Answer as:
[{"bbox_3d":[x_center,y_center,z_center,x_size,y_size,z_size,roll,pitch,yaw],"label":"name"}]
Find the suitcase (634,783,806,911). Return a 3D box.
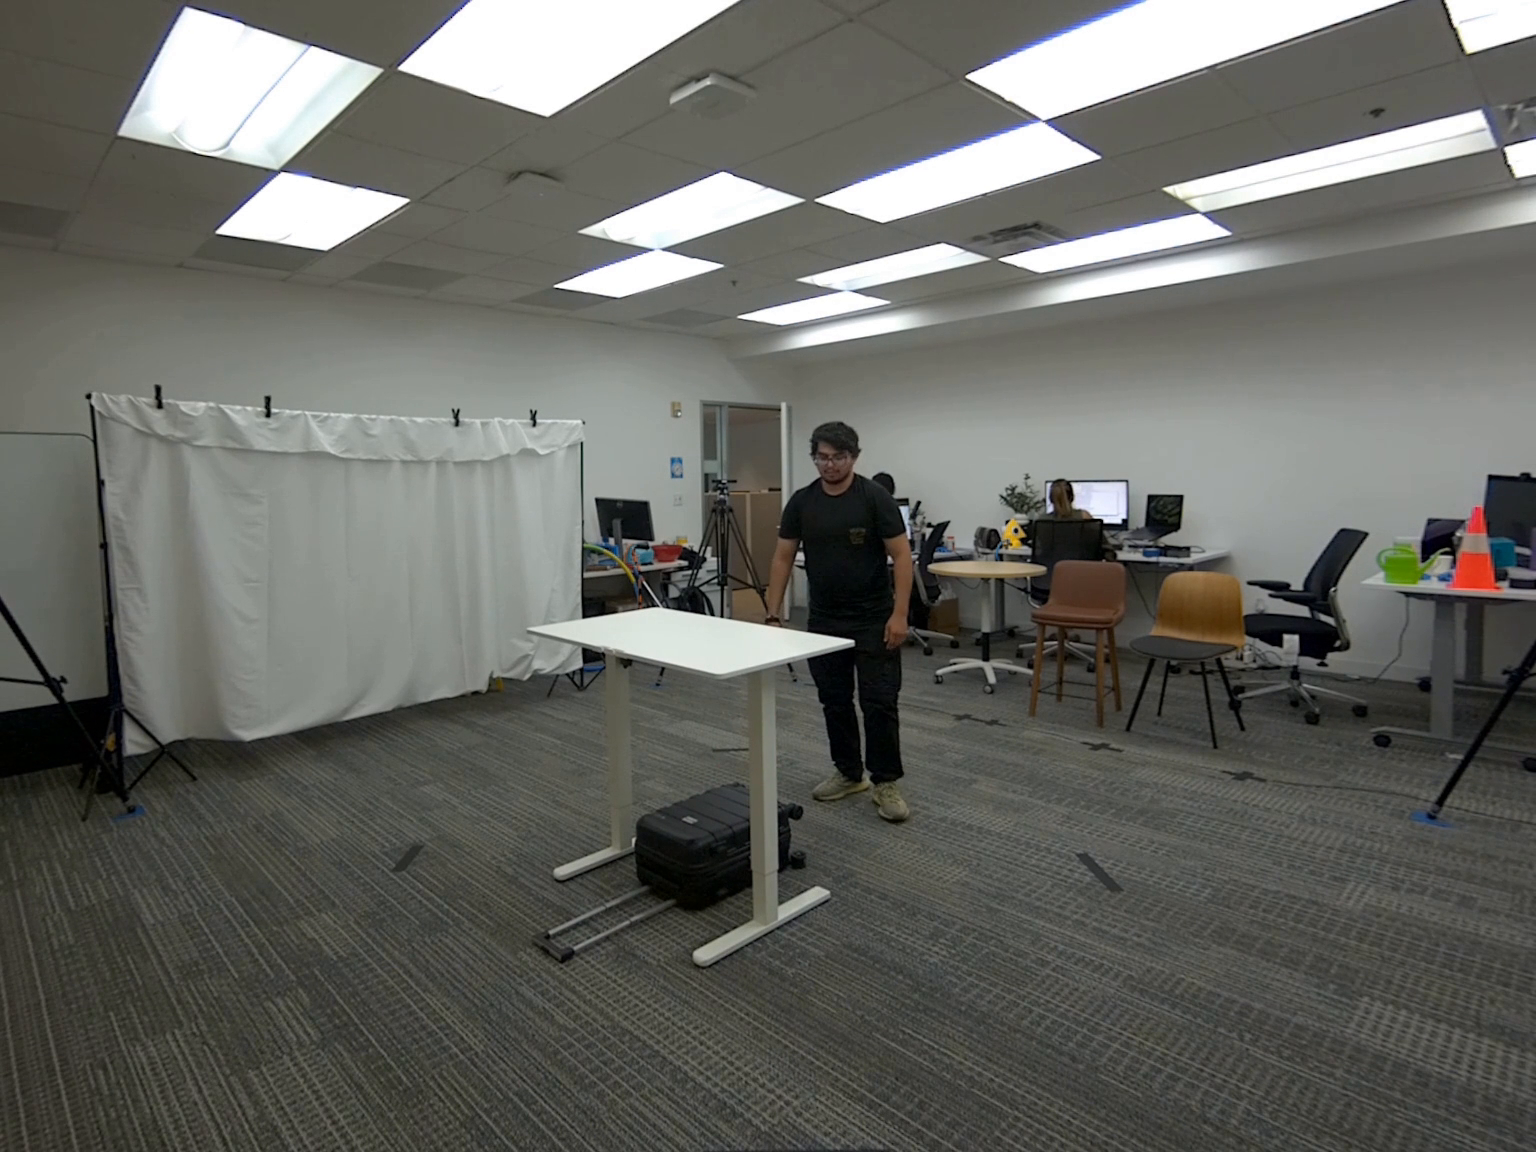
[{"bbox_3d":[-0.317,0.956,2.877,0.396,0.256,0.952,6,8,44],"label":"suitcase"}]
